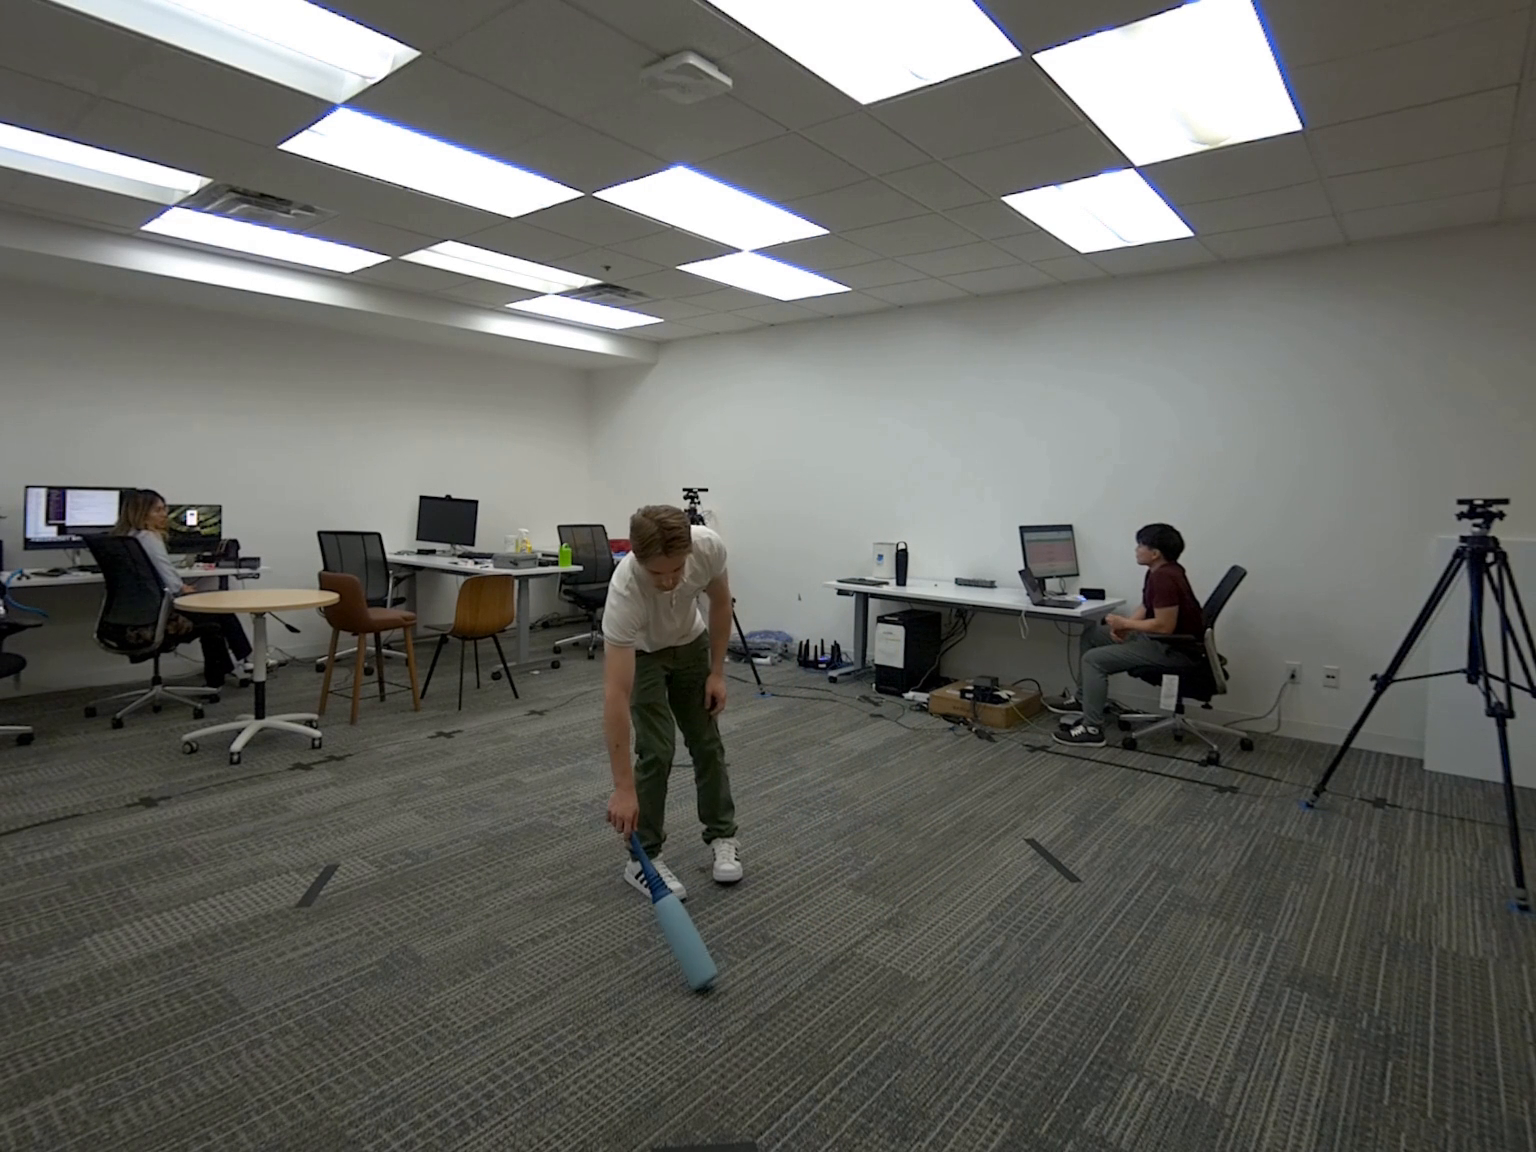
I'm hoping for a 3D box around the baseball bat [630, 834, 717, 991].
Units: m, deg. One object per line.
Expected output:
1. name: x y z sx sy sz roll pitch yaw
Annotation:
1. baseball bat: -0.311 0.917 2.464 0.088 0.561 0.087 -26 -26 -15
